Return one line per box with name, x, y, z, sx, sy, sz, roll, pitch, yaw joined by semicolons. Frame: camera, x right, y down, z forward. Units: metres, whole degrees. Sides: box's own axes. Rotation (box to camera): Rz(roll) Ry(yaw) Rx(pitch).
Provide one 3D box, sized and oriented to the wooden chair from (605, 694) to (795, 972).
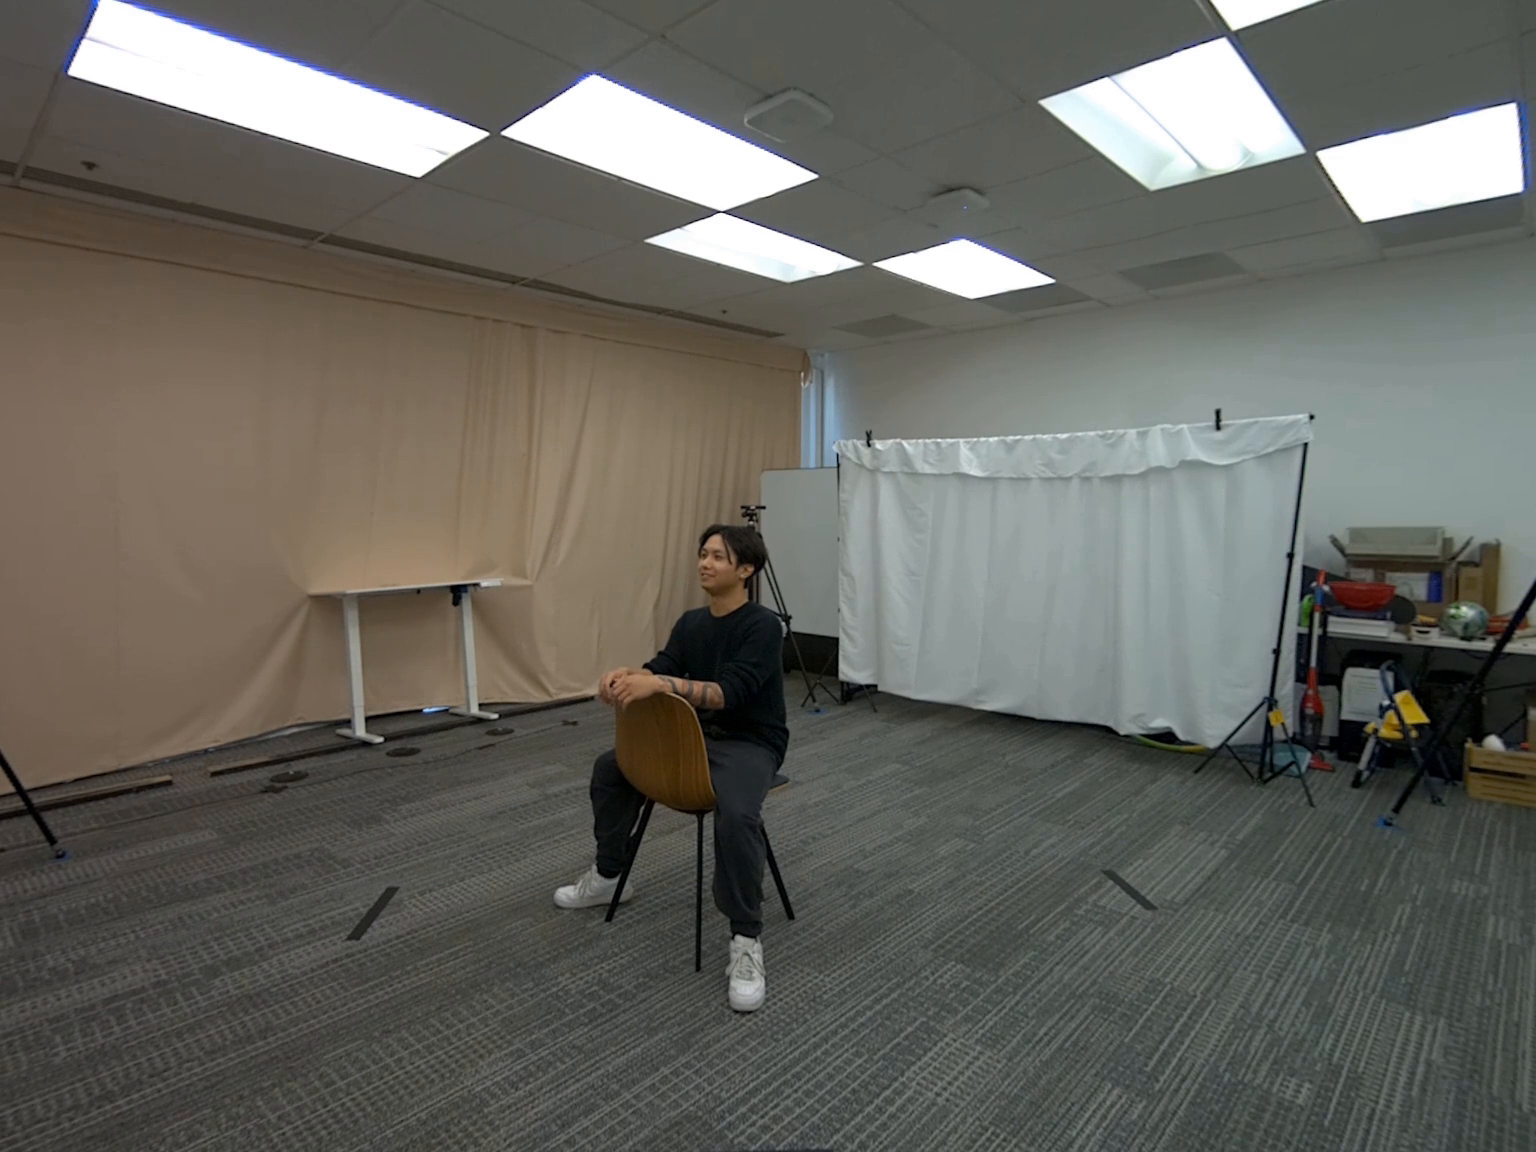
wooden chair;-0.219;0.726;2.817;0.494;0.874;0.508;3;8;44
